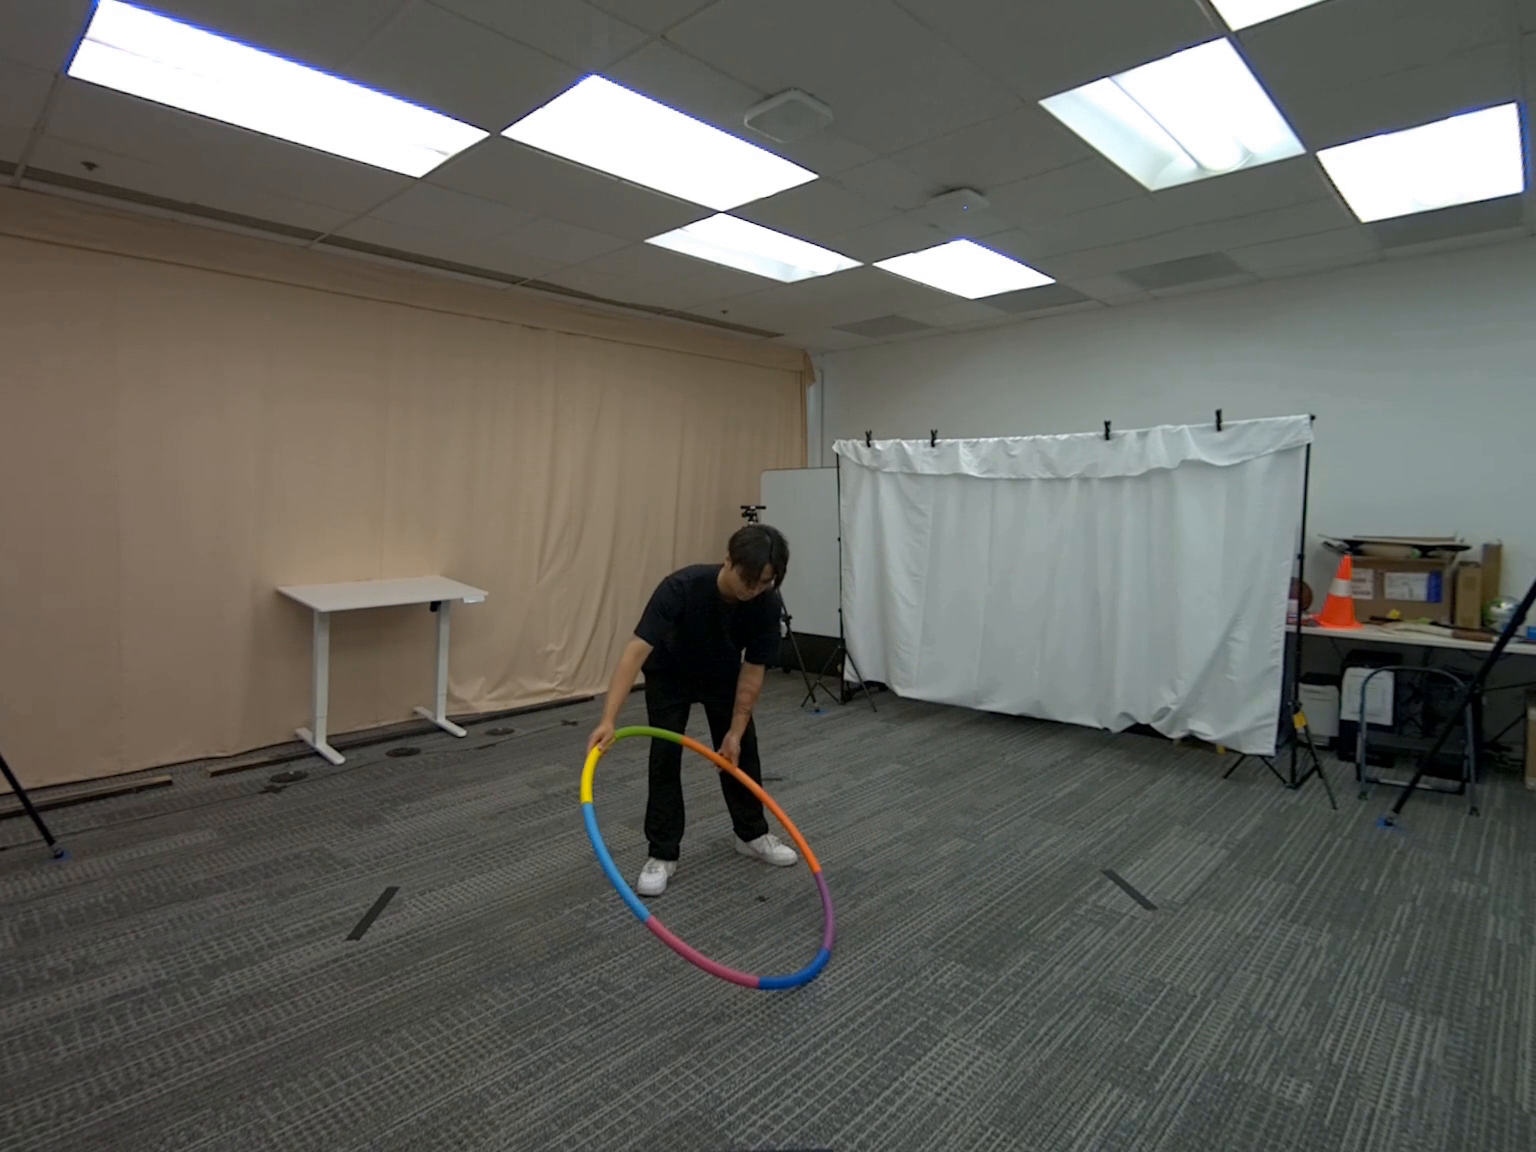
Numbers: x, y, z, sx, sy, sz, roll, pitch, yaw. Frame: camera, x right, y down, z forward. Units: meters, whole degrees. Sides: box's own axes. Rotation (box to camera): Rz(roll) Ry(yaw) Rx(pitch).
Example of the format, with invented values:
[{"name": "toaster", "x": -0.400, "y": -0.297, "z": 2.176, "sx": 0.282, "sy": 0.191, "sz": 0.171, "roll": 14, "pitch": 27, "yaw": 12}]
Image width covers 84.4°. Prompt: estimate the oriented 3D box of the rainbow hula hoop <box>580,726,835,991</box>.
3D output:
[{"name": "rainbow hula hoop", "x": -0.162, "y": 0.855, "z": 2.689, "sx": 0.963, "sy": 0.035, "sz": 0.992, "roll": 34, "pitch": 16, "yaw": -14}]
